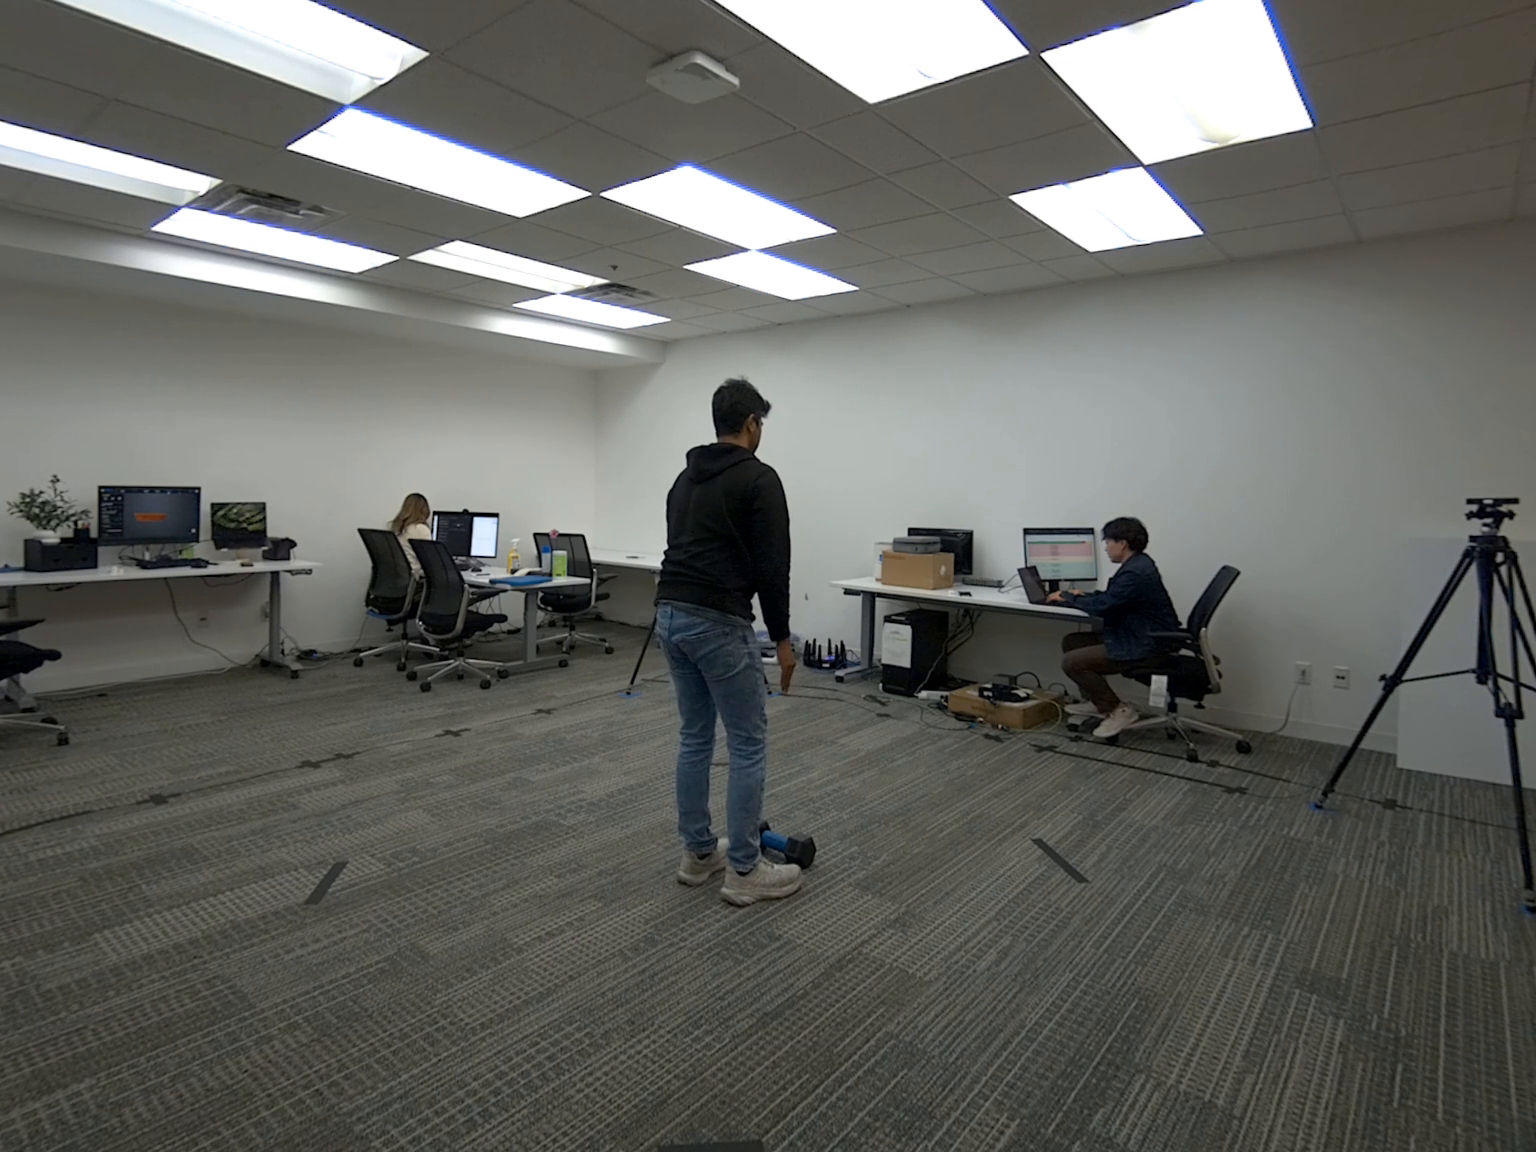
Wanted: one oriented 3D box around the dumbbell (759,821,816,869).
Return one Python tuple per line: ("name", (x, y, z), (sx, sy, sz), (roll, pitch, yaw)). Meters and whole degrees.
("dumbbell", (0.027, 1.003, 3.221), (0.303, 0.124, 0.104), (5, -23, 40))
